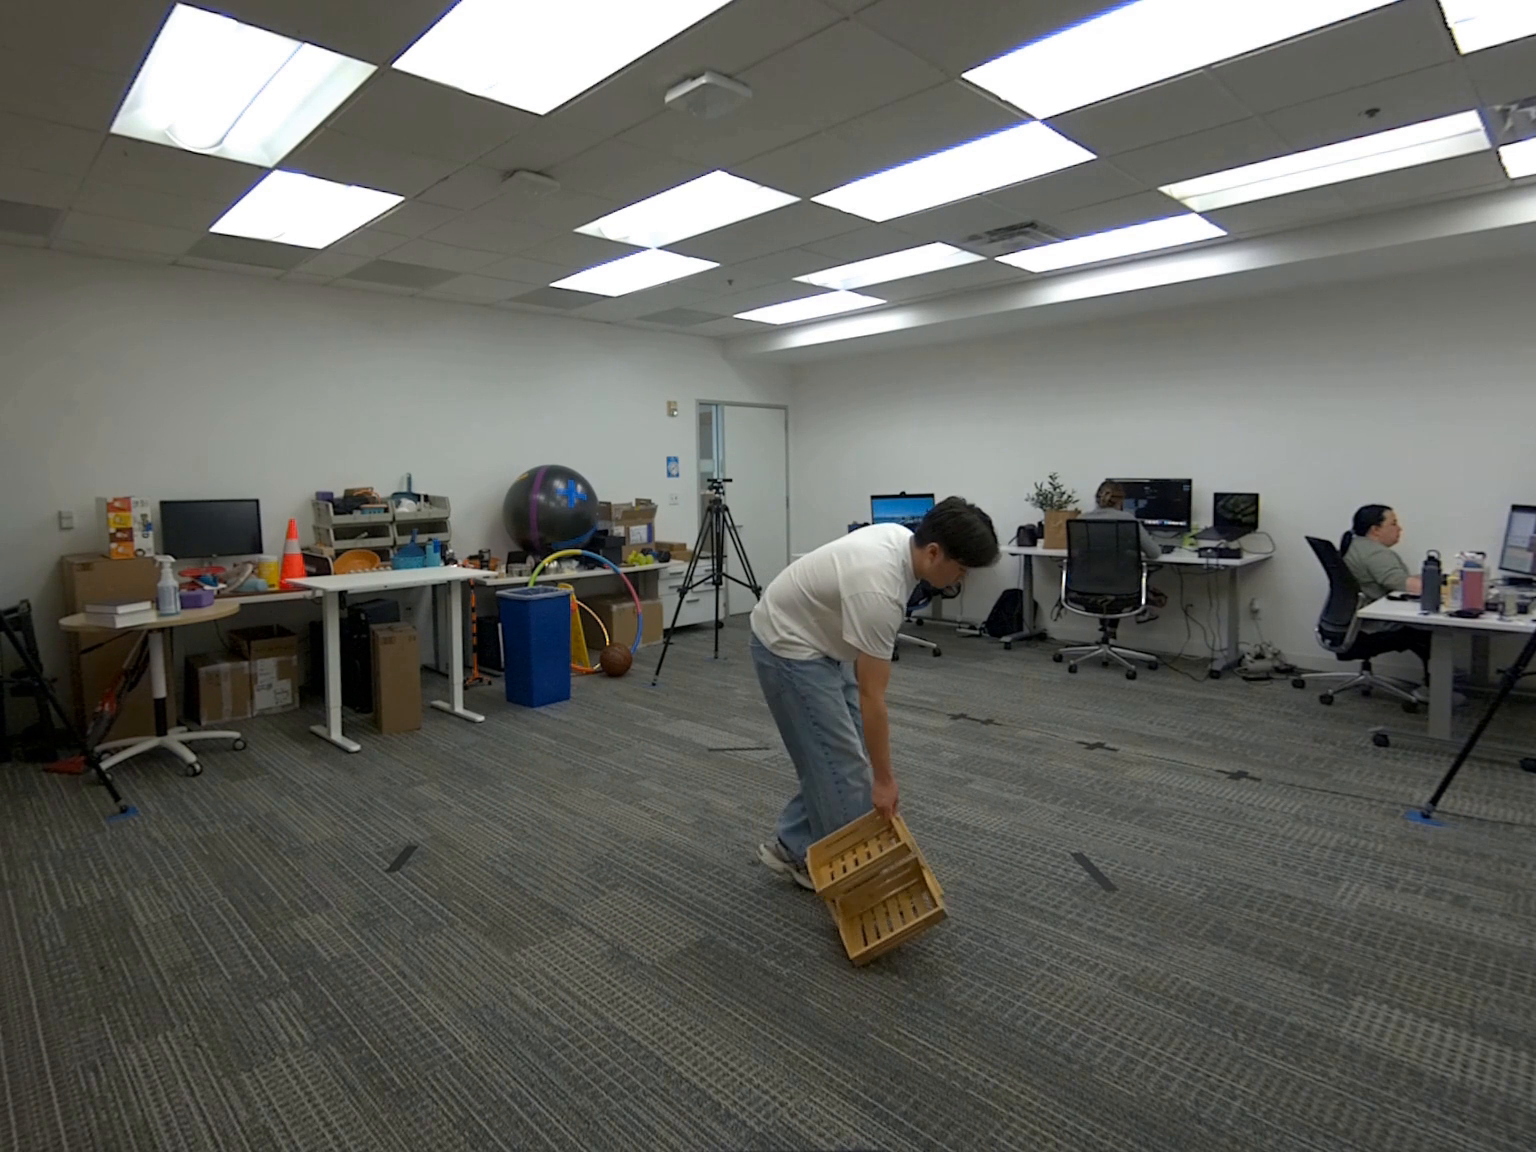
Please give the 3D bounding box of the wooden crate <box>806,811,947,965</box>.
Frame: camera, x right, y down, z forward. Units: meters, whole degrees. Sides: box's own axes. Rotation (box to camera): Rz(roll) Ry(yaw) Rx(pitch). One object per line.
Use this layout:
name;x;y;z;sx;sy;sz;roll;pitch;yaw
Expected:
wooden crate;0.313;0.914;2.540;0.325;0.272;0.303;-31;4;4
